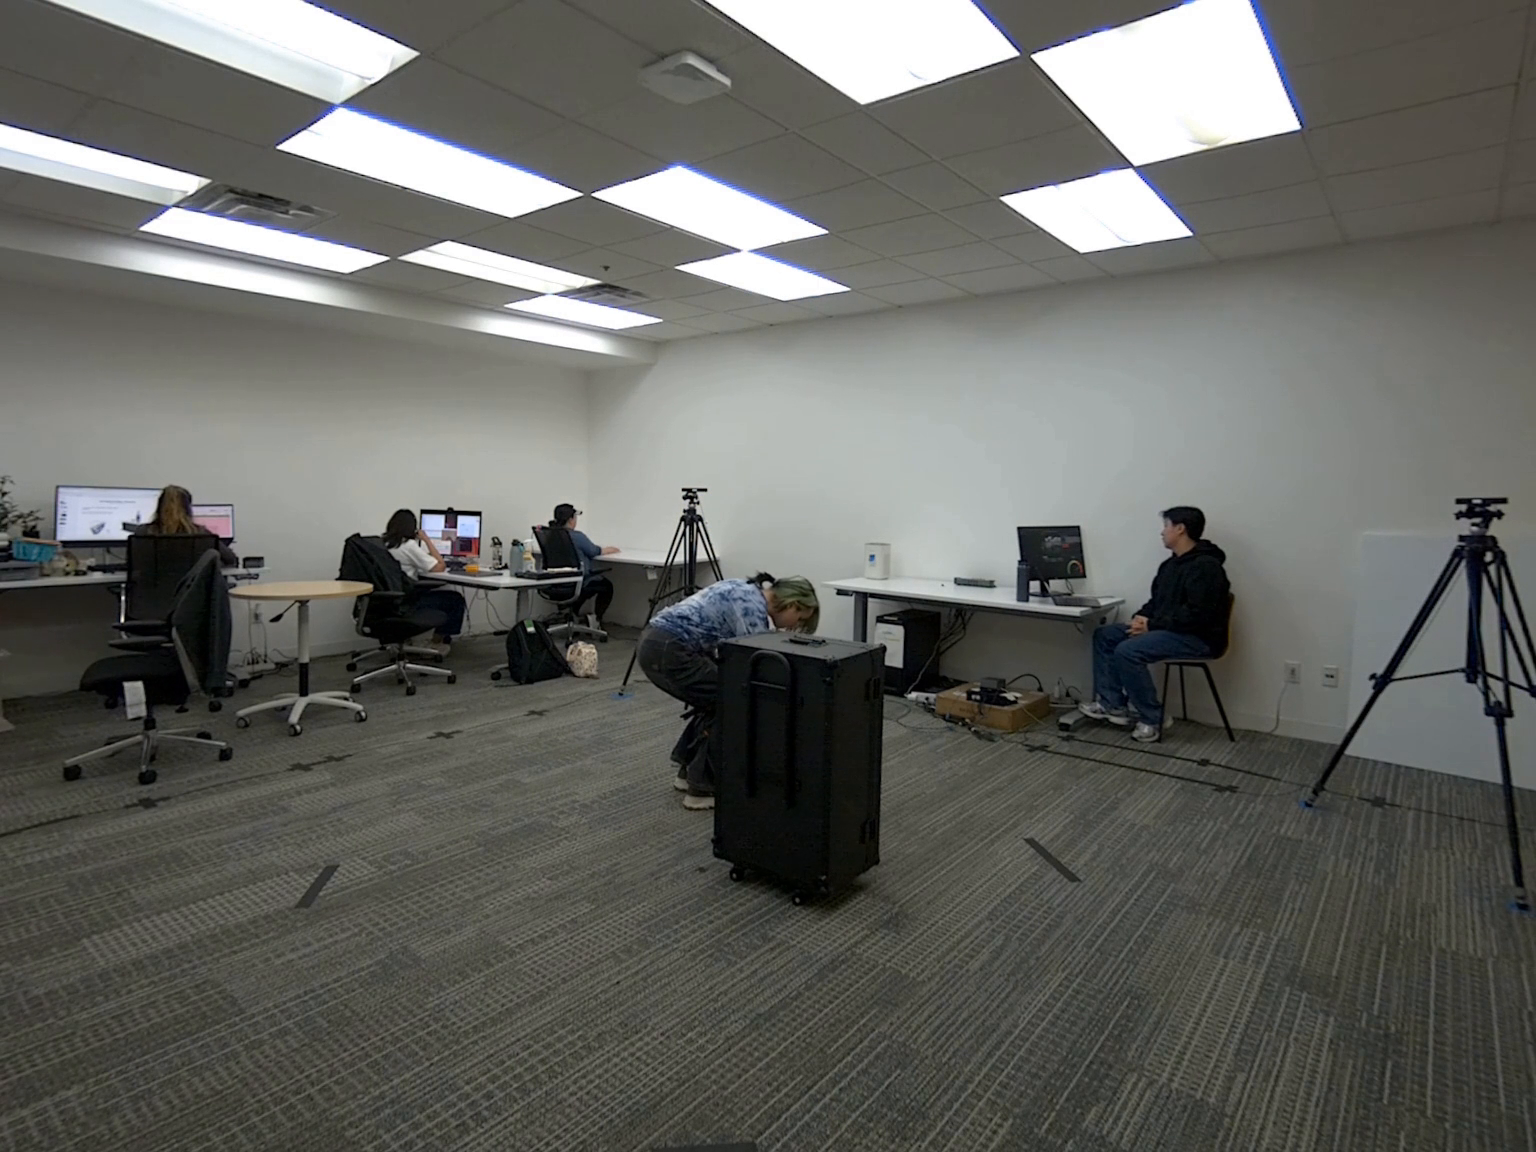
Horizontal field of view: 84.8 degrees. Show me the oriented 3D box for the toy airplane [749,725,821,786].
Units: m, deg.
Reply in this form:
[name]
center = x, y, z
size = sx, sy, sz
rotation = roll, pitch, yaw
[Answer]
[toy airplane]
center = 0.070, 0.812, 3.835
size = 0.247, 0.155, 0.266
rotation = -2, 12, -15
